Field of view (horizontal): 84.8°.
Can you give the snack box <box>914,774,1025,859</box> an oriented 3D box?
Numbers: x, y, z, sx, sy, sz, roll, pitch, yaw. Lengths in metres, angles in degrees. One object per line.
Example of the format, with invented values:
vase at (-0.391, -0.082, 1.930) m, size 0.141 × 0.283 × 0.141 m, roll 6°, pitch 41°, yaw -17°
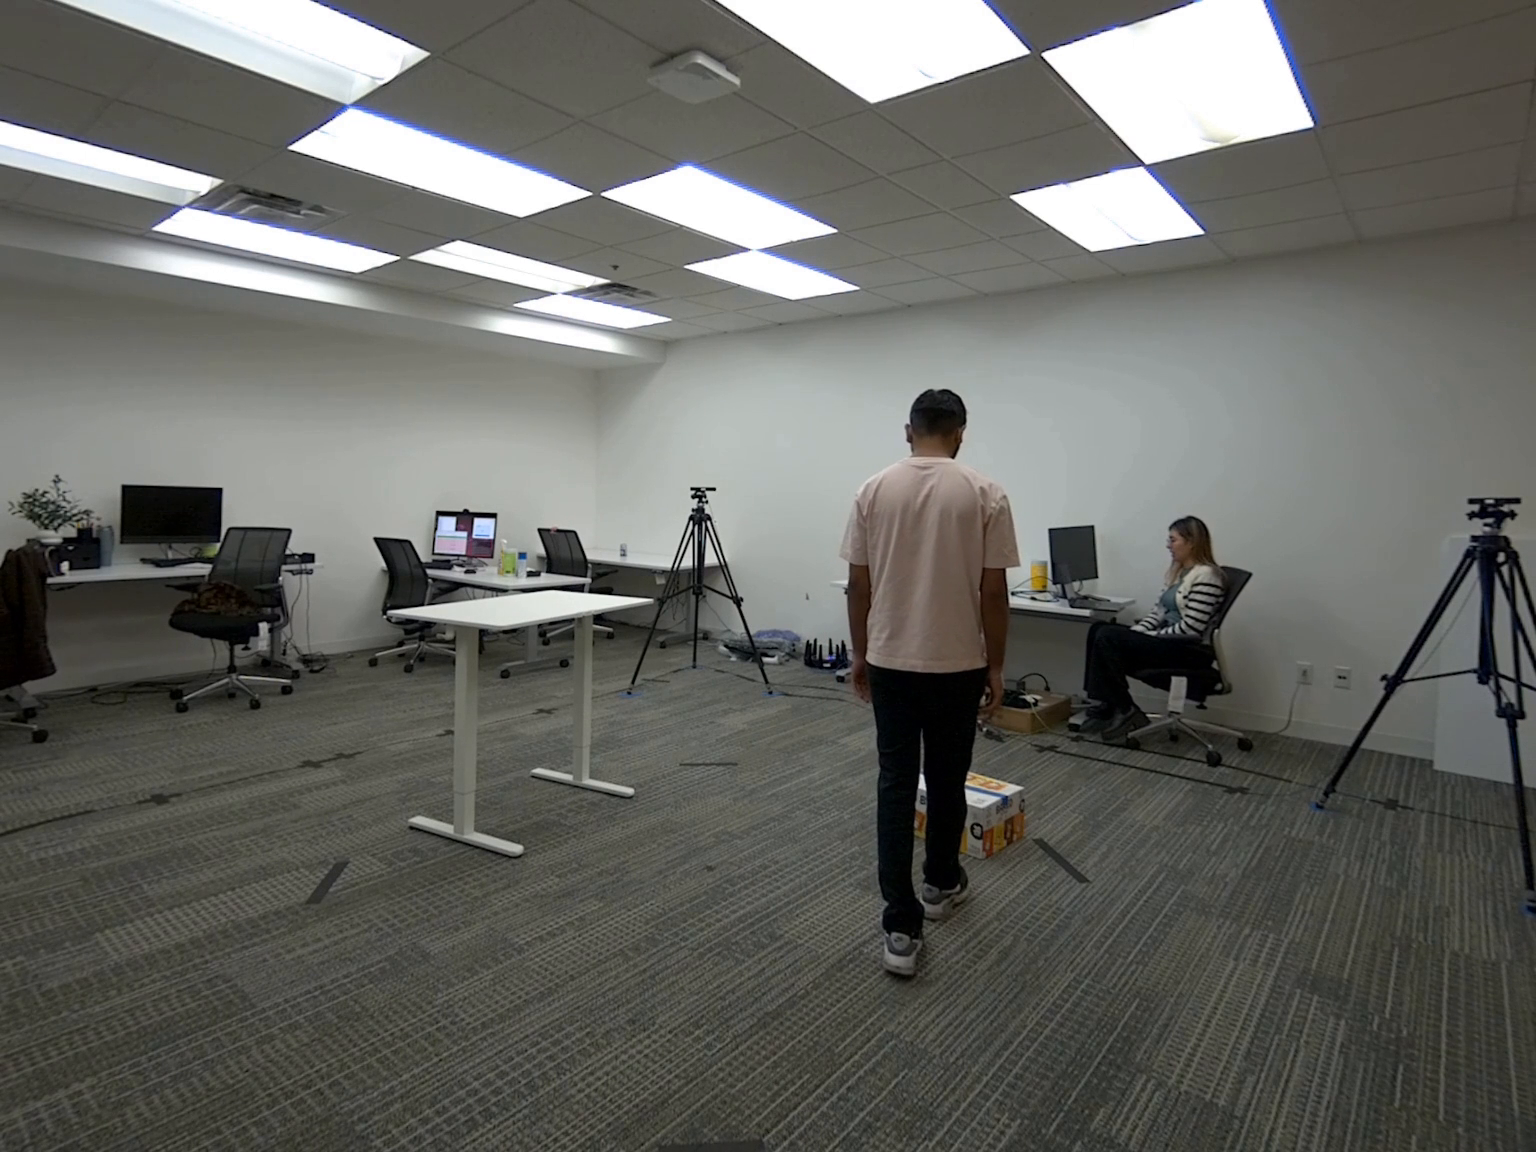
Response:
snack box at (0.778, 0.952, 3.492) m, size 0.419 × 0.205 × 0.330 m, roll 6°, pitch 7°, yaw 44°
